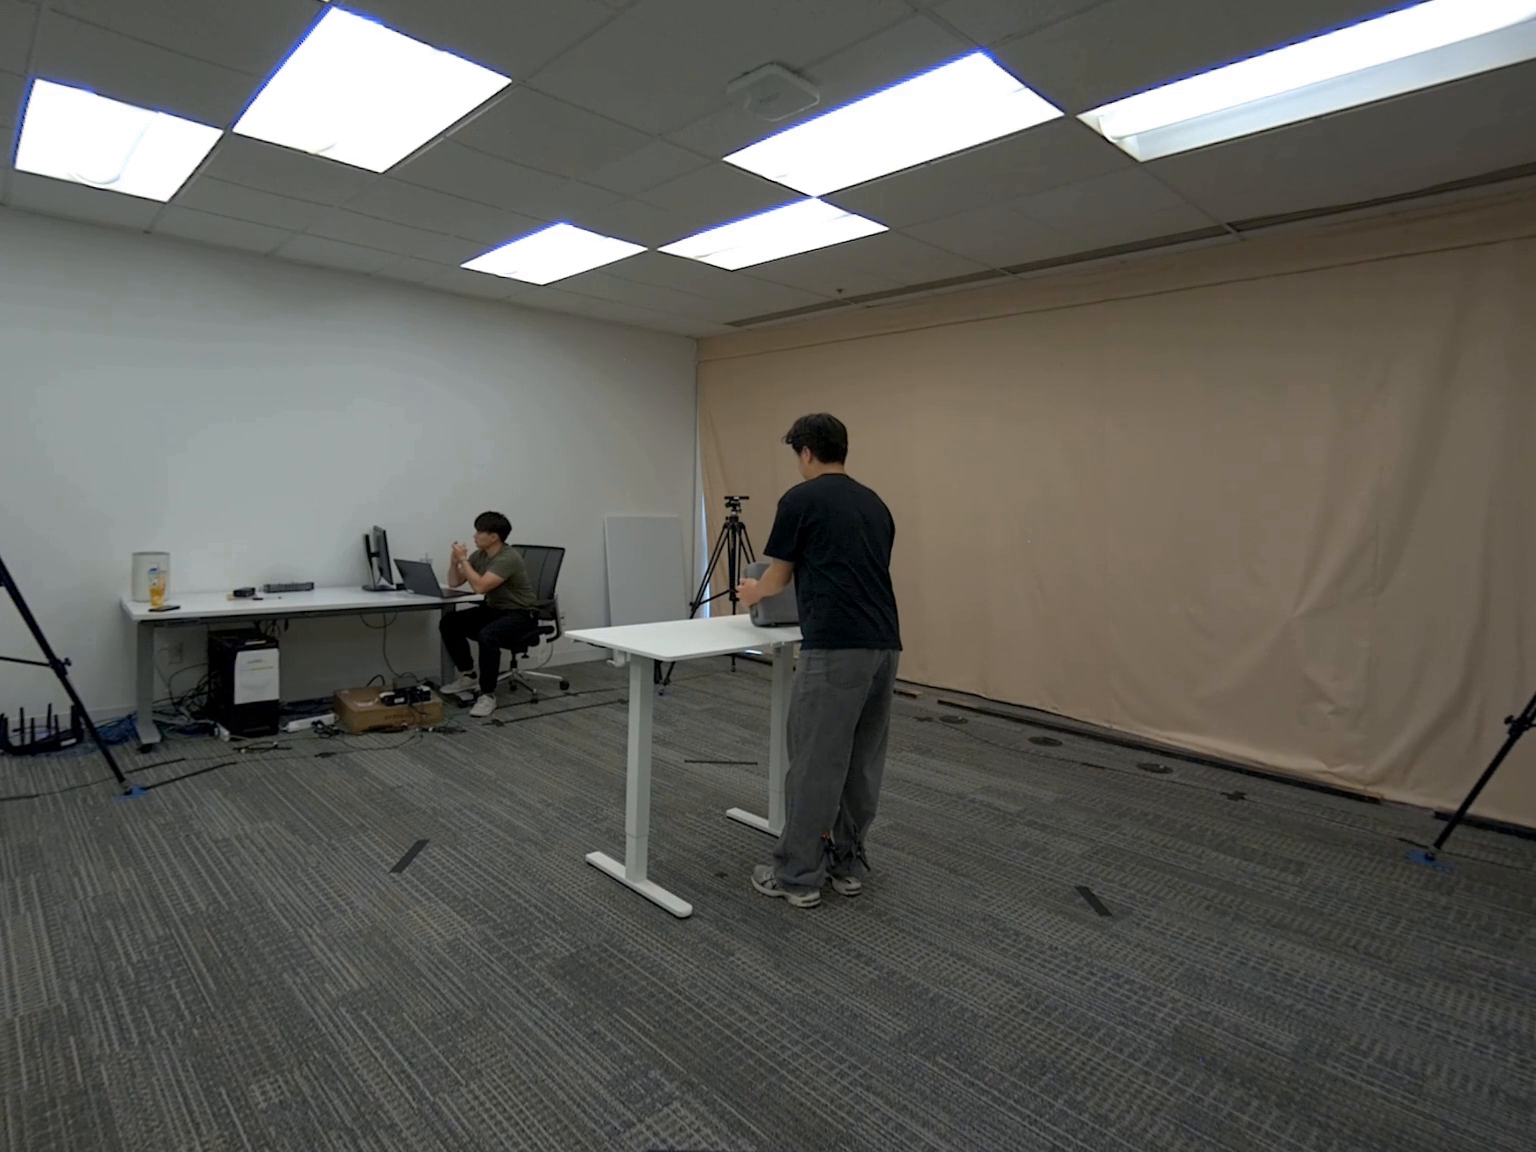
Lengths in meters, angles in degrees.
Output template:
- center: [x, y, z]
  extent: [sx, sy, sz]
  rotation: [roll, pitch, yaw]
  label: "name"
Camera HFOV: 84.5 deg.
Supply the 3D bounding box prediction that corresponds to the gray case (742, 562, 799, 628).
- center: [0.033, 0.073, 3.416]
  extent: [0.251, 0.263, 0.105]
  rotation: [-2, -14, -33]
  label: "gray case"
